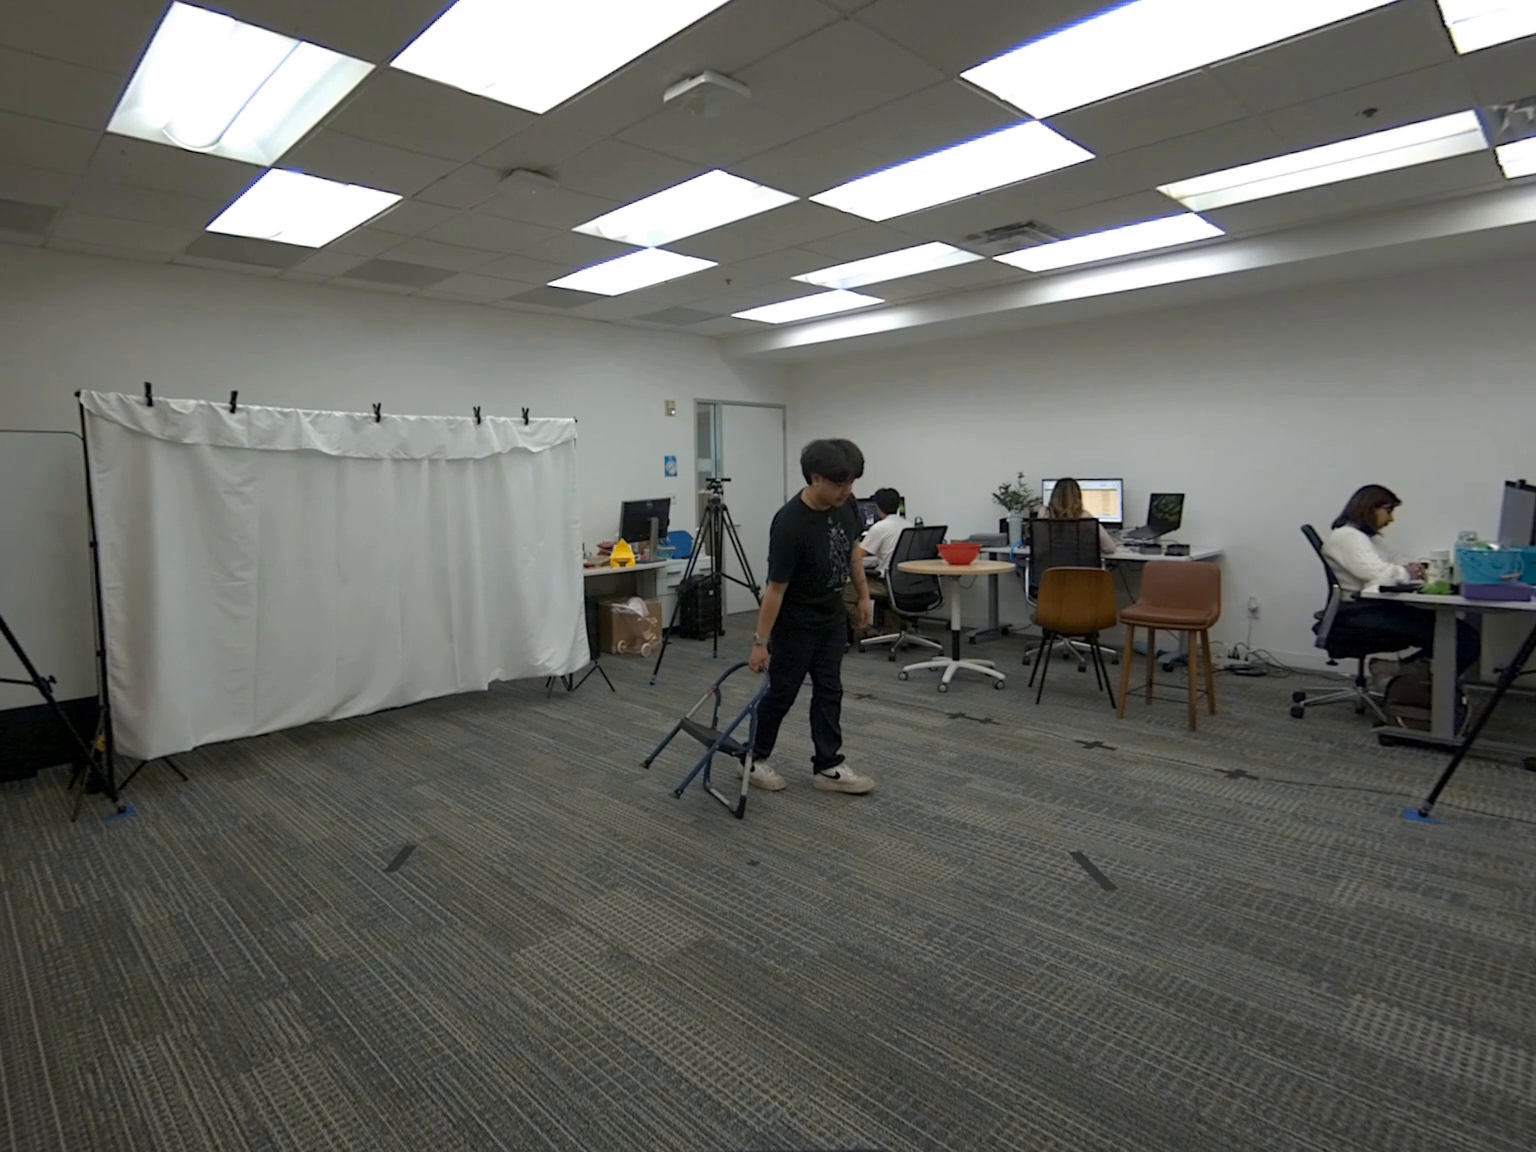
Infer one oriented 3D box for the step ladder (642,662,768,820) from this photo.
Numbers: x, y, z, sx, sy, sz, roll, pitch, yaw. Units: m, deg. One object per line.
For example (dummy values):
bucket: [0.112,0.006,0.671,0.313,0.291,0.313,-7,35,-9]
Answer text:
step ladder: [-0.220,0.641,3.667,0.340,0.608,0.441,25,-6,-25]
